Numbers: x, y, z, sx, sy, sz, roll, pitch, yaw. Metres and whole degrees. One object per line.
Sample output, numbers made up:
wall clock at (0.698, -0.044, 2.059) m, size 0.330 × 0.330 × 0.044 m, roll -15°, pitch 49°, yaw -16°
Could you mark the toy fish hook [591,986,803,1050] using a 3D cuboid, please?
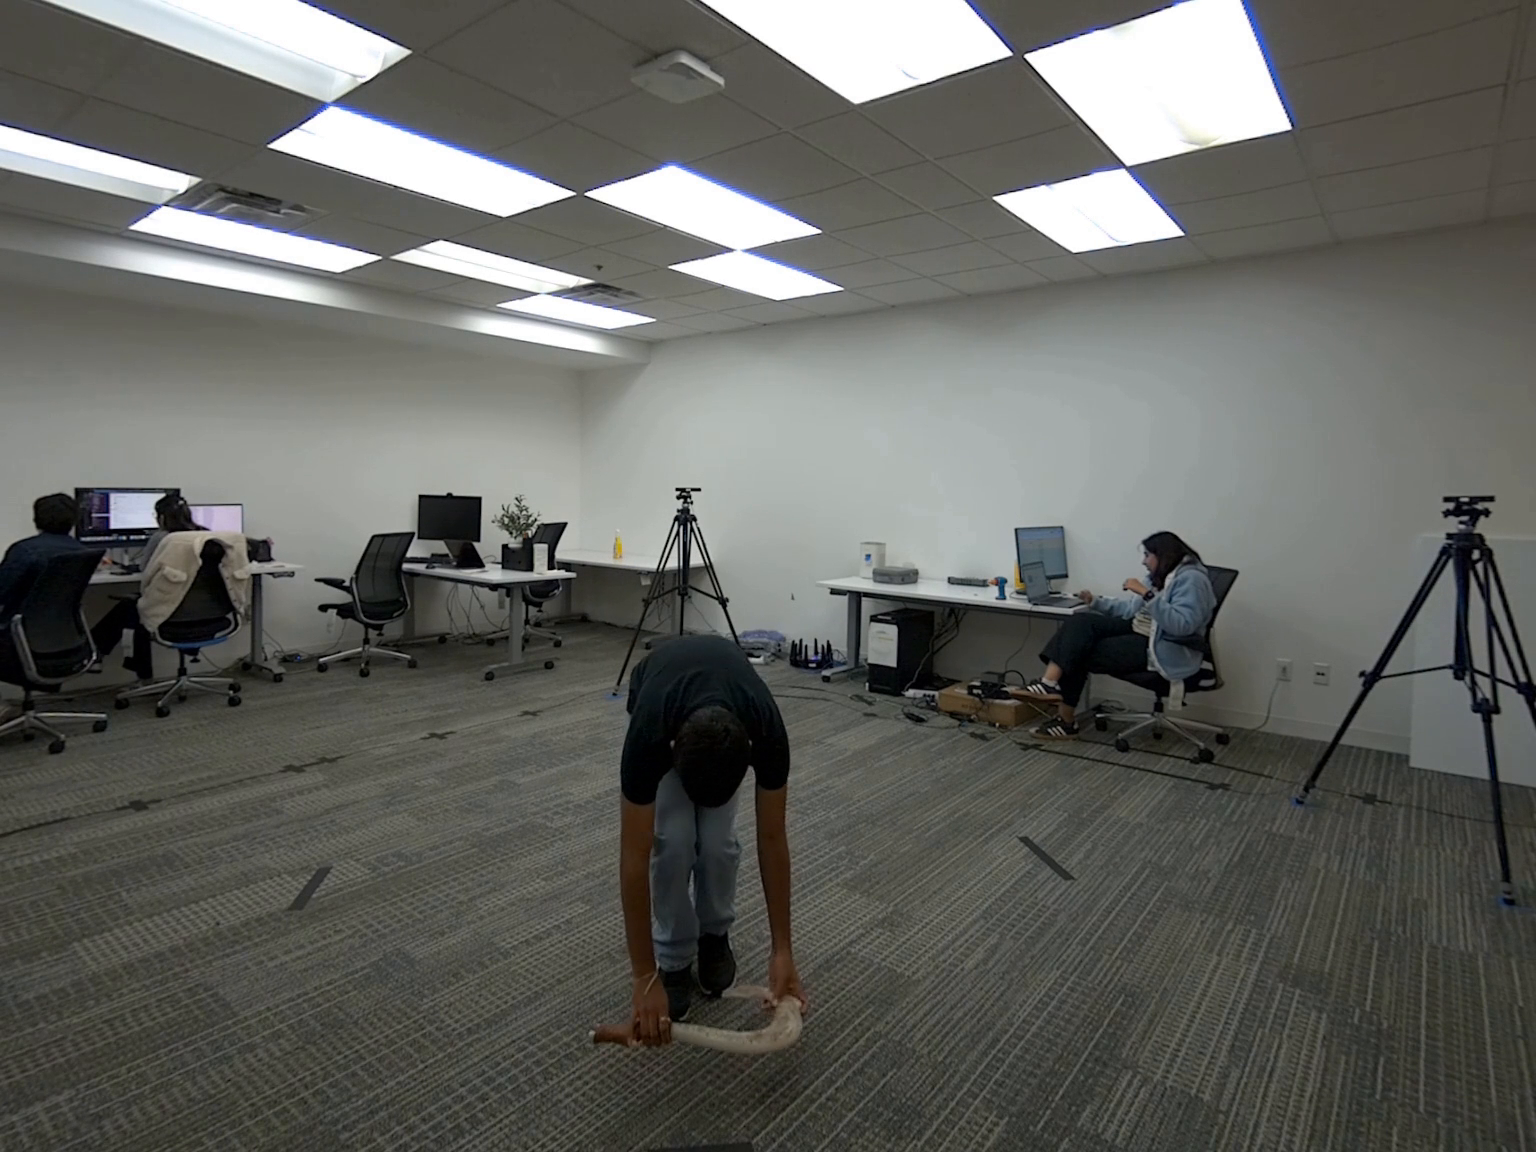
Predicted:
toy fish hook at (-0.181, 1.042, 2.050) m, size 0.508 × 0.048 × 0.225 m, roll -1°, pitch 4°, yaw 1°
